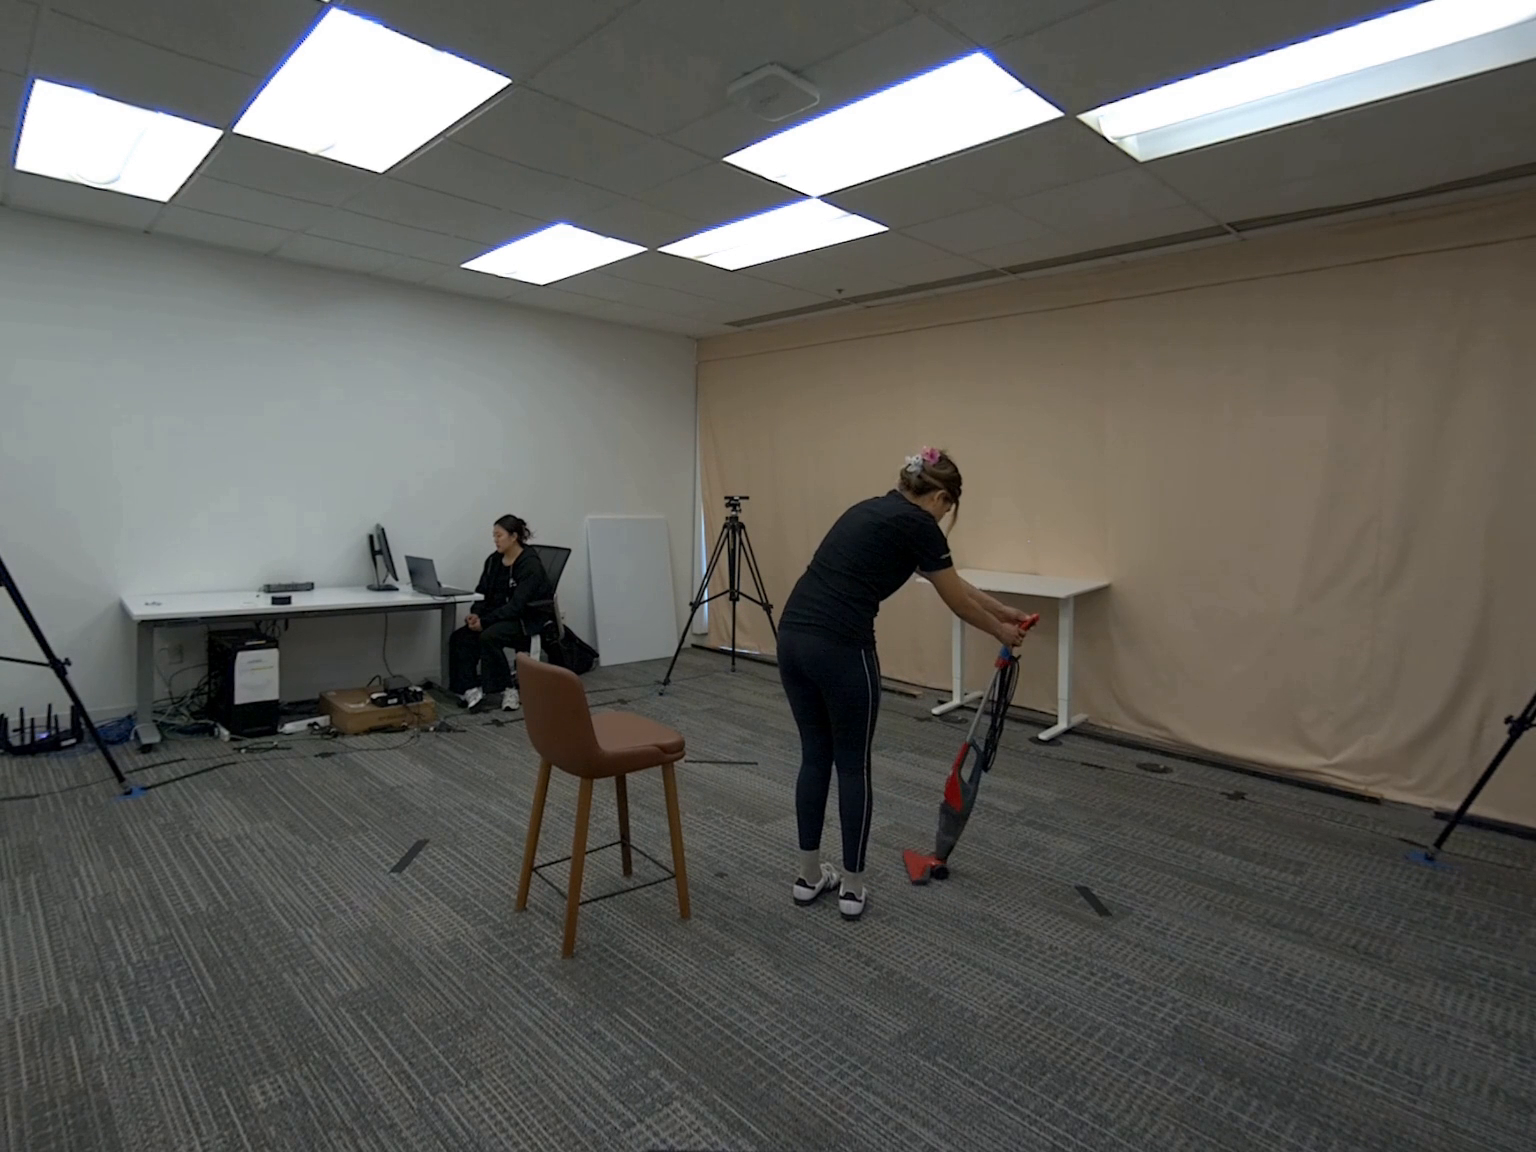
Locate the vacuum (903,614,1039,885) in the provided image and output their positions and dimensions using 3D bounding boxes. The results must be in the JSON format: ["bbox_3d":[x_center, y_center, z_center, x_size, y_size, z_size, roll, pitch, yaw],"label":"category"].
[{"bbox_3d":[0.780,0.632,3.134,0.144,1.047,0.254,22,5,-4],"label":"vacuum"}]
